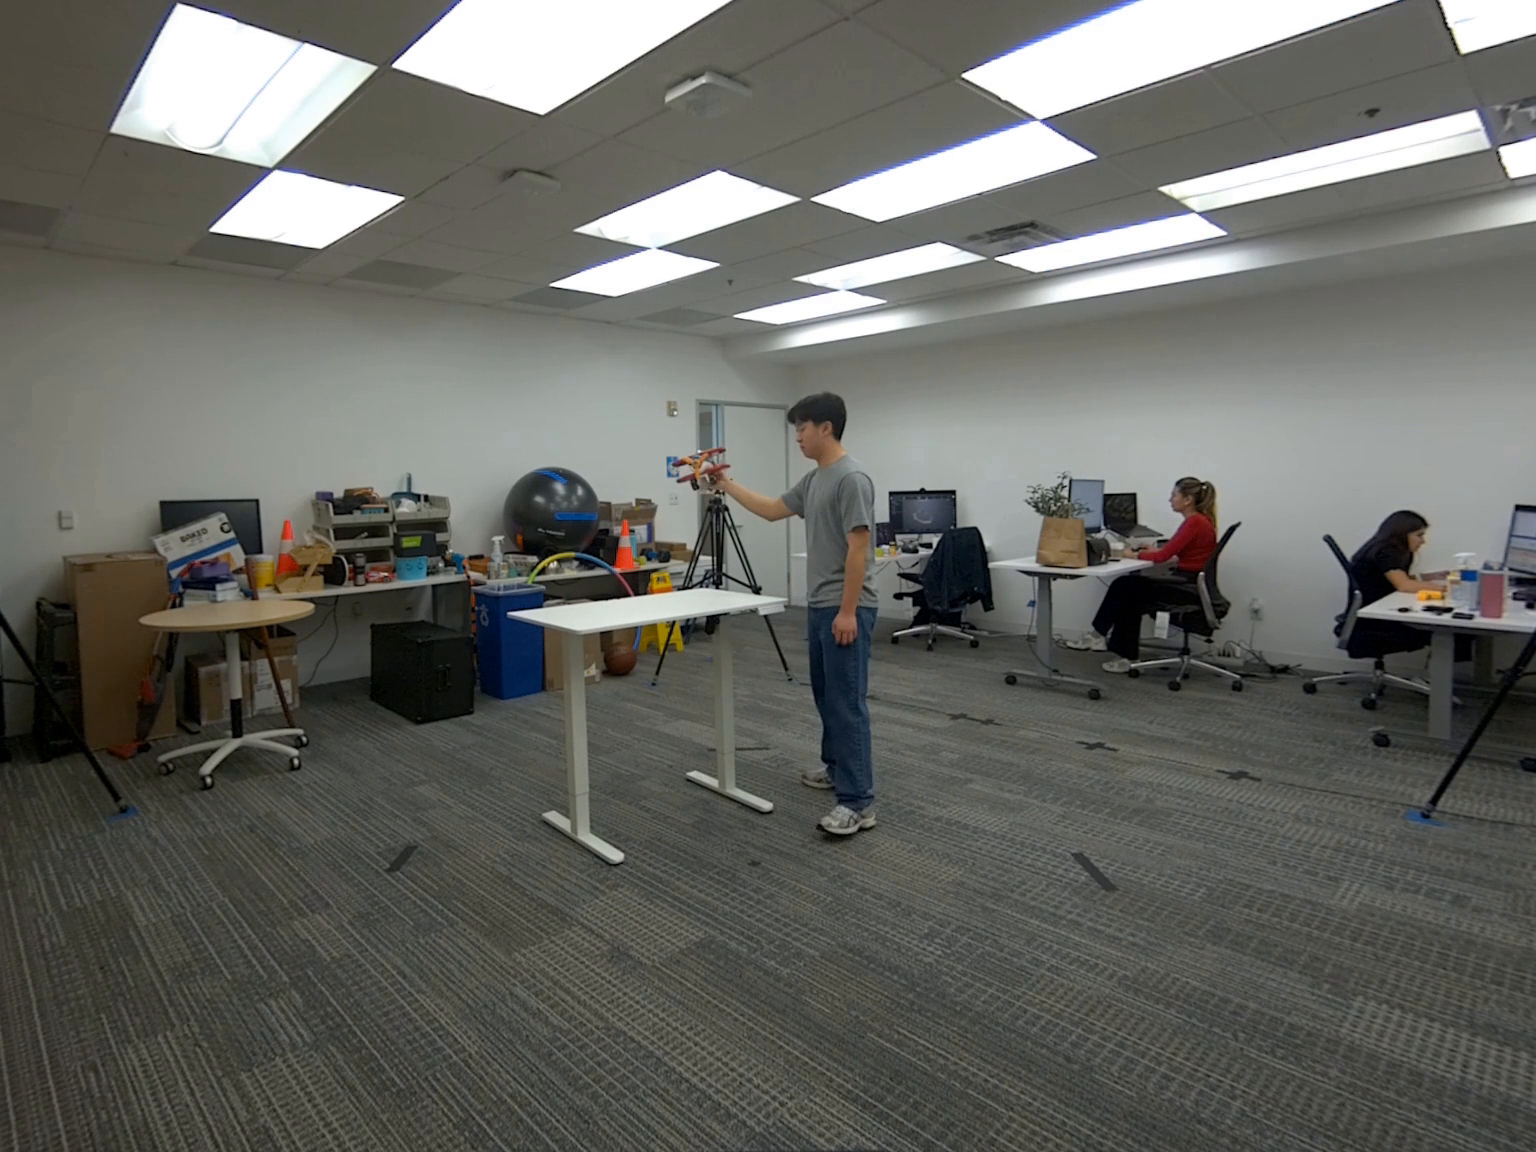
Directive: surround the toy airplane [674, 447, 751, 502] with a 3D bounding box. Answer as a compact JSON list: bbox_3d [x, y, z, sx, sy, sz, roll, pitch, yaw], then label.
[{"bbox_3d":[-0.296,-0.488,3.896,0.249,0.155,0.265,-21,12,-16],"label":"toy airplane"}]
